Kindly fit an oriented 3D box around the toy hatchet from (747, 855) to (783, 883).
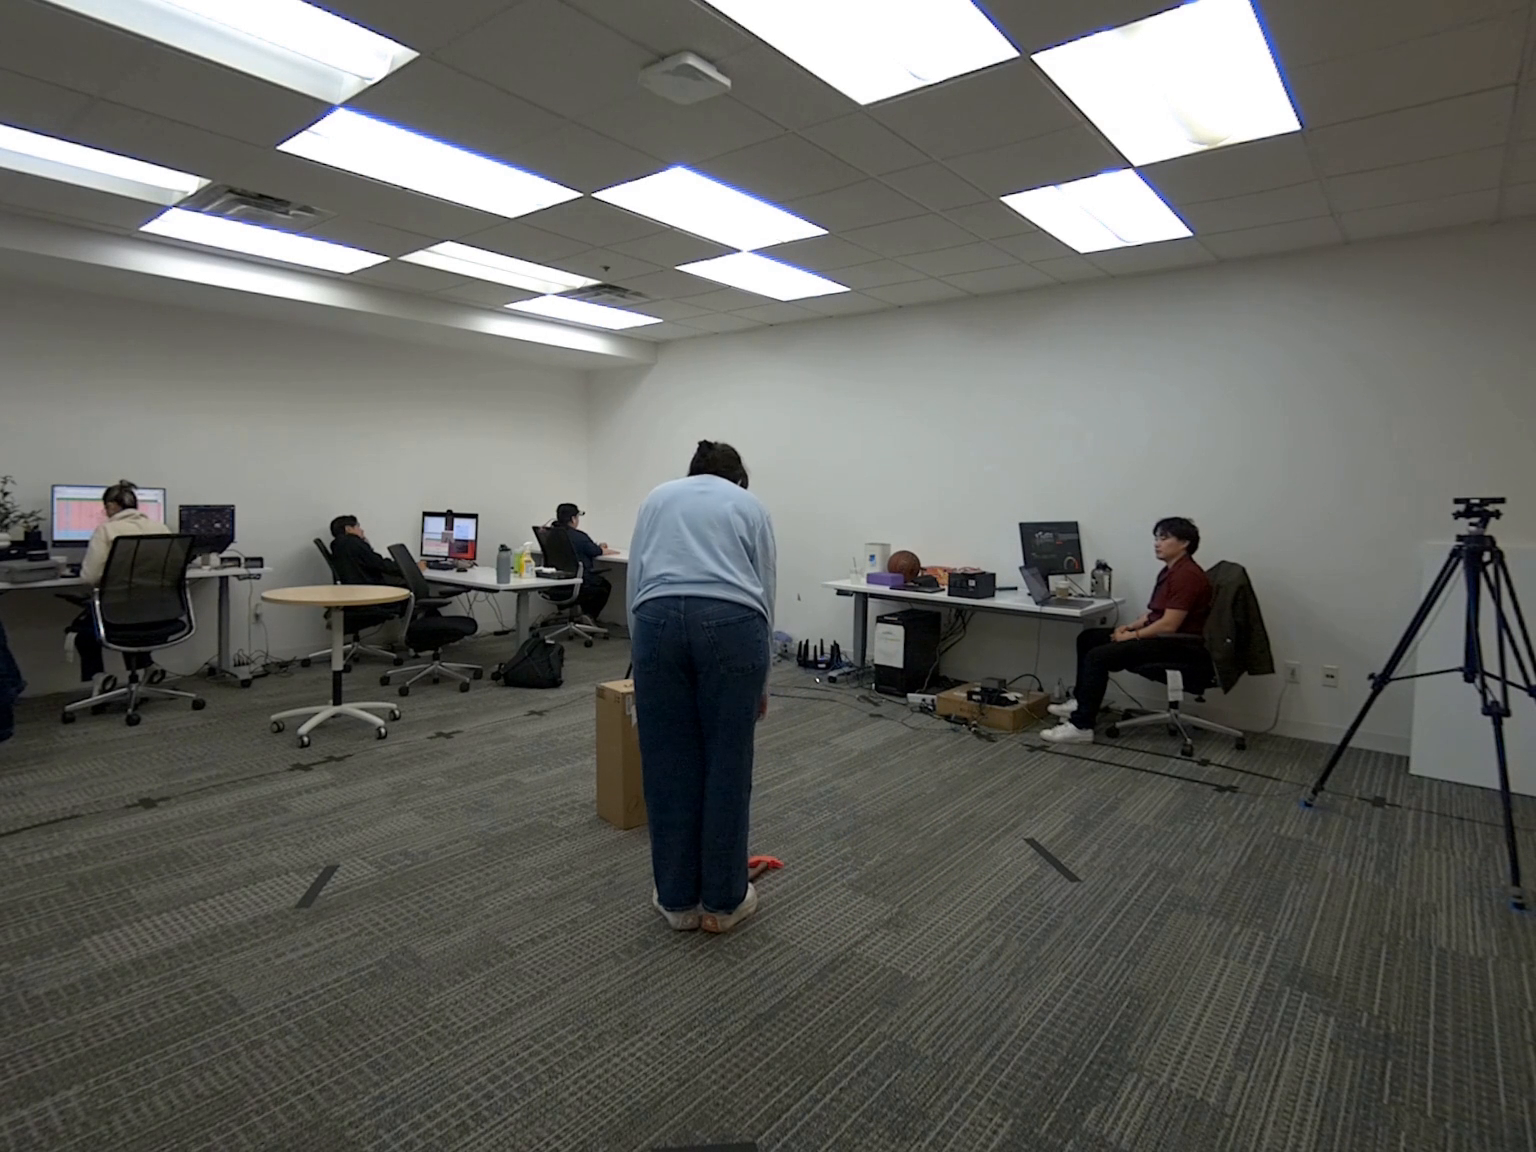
[{"bbox_3d":[-0.085,1.062,3.075,0.262,0.029,0.135,-7,9,-44],"label":"toy hatchet"}]
